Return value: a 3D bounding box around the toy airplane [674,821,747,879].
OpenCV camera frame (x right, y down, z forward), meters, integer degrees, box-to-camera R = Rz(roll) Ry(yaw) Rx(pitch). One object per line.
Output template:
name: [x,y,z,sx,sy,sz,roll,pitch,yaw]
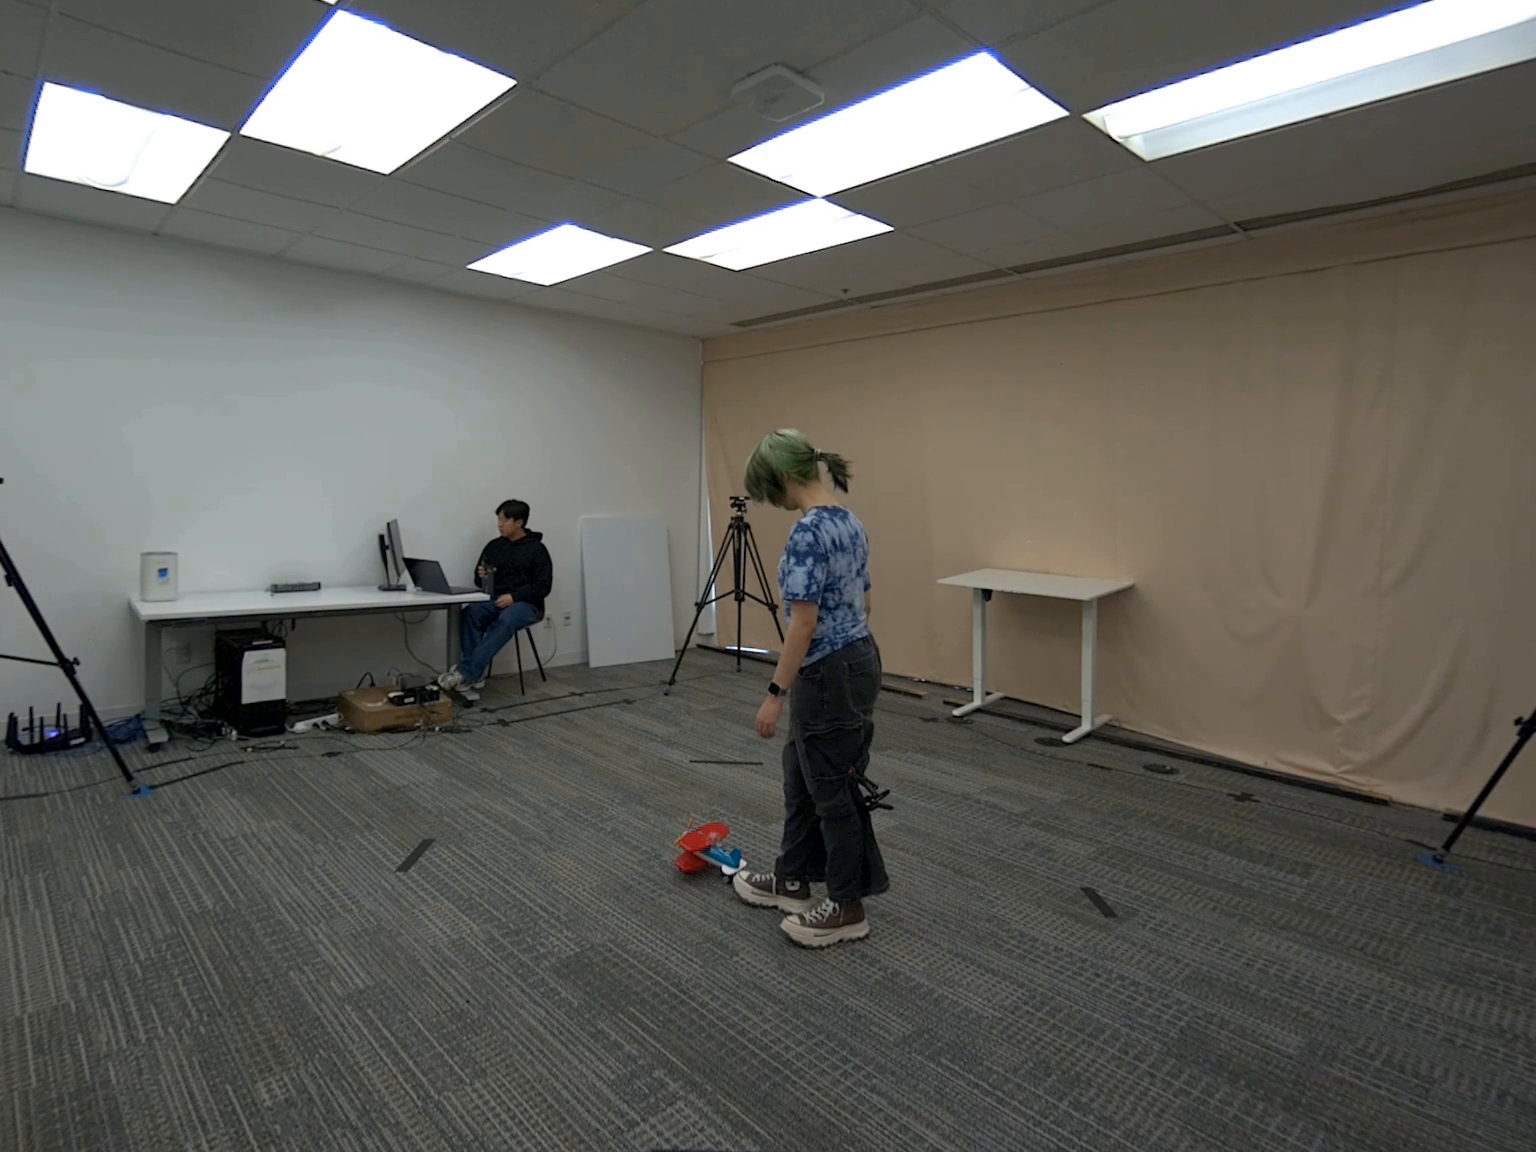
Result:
toy airplane: [-0.211,1.024,3.115,0.260,0.156,0.250,0,5,6]
